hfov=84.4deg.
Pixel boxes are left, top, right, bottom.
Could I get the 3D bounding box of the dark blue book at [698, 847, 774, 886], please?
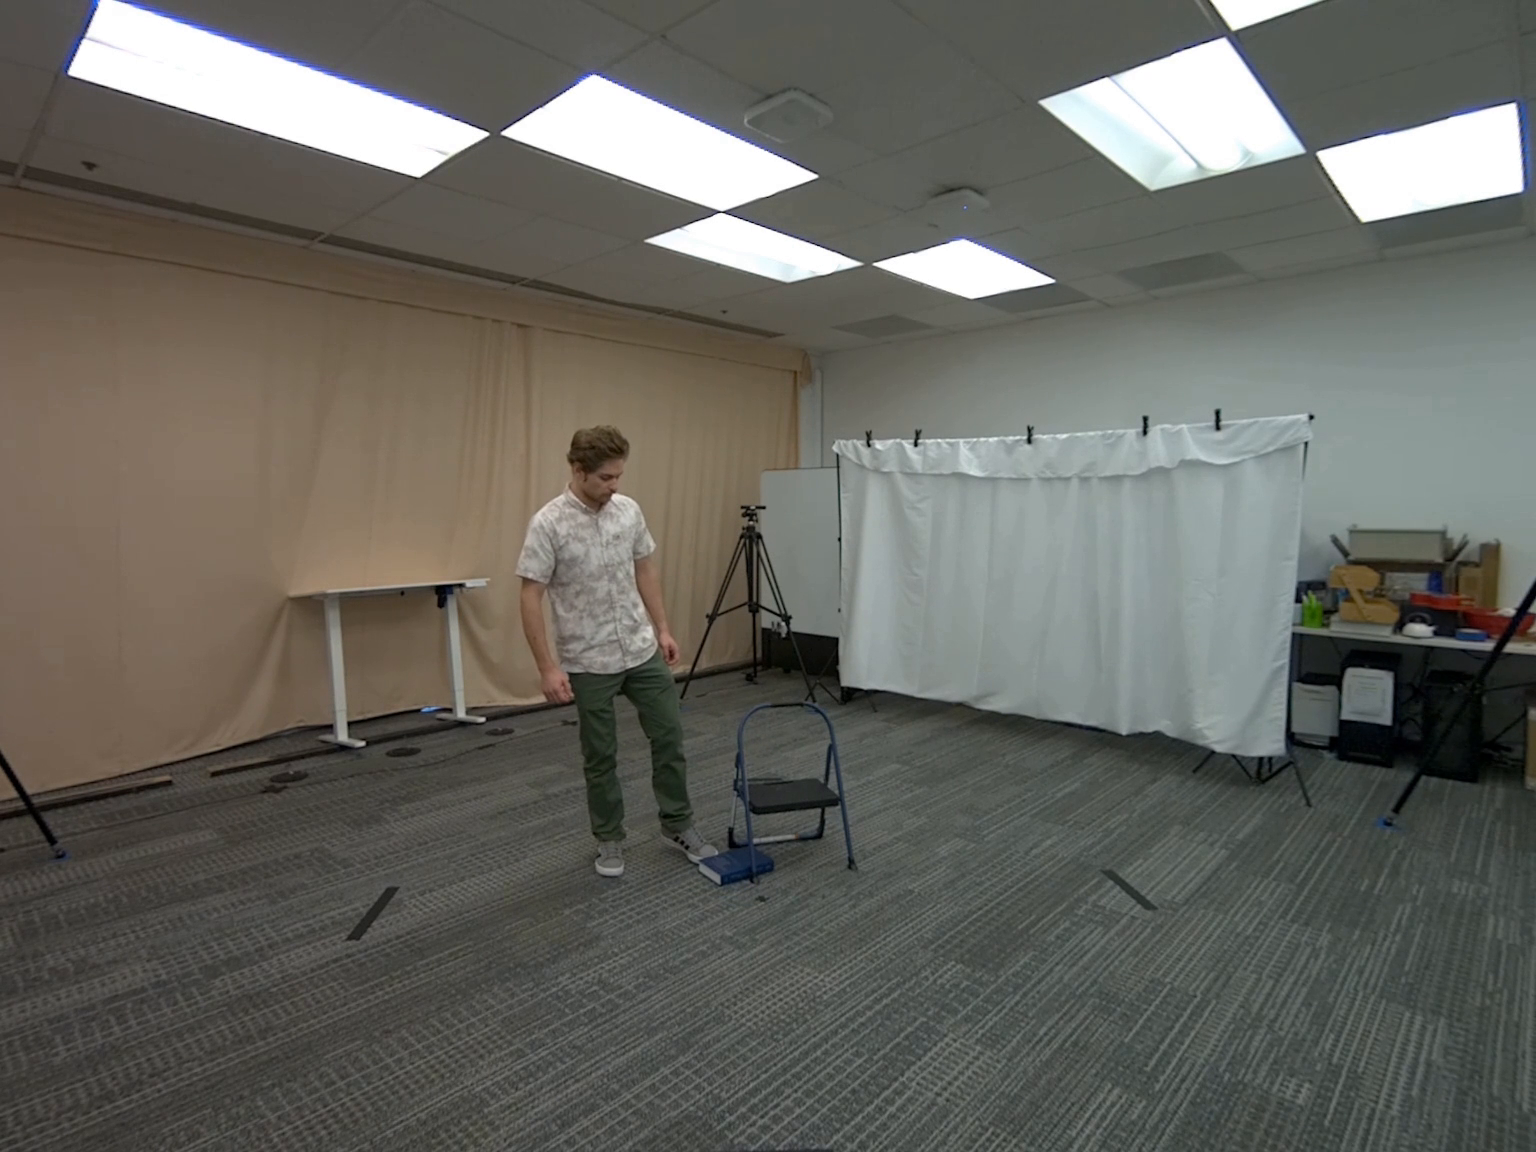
[{"bbox_3d":[-0.124,1.103,3.210,0.238,0.045,0.168,-4,6,-34],"label":"dark blue book"}]
